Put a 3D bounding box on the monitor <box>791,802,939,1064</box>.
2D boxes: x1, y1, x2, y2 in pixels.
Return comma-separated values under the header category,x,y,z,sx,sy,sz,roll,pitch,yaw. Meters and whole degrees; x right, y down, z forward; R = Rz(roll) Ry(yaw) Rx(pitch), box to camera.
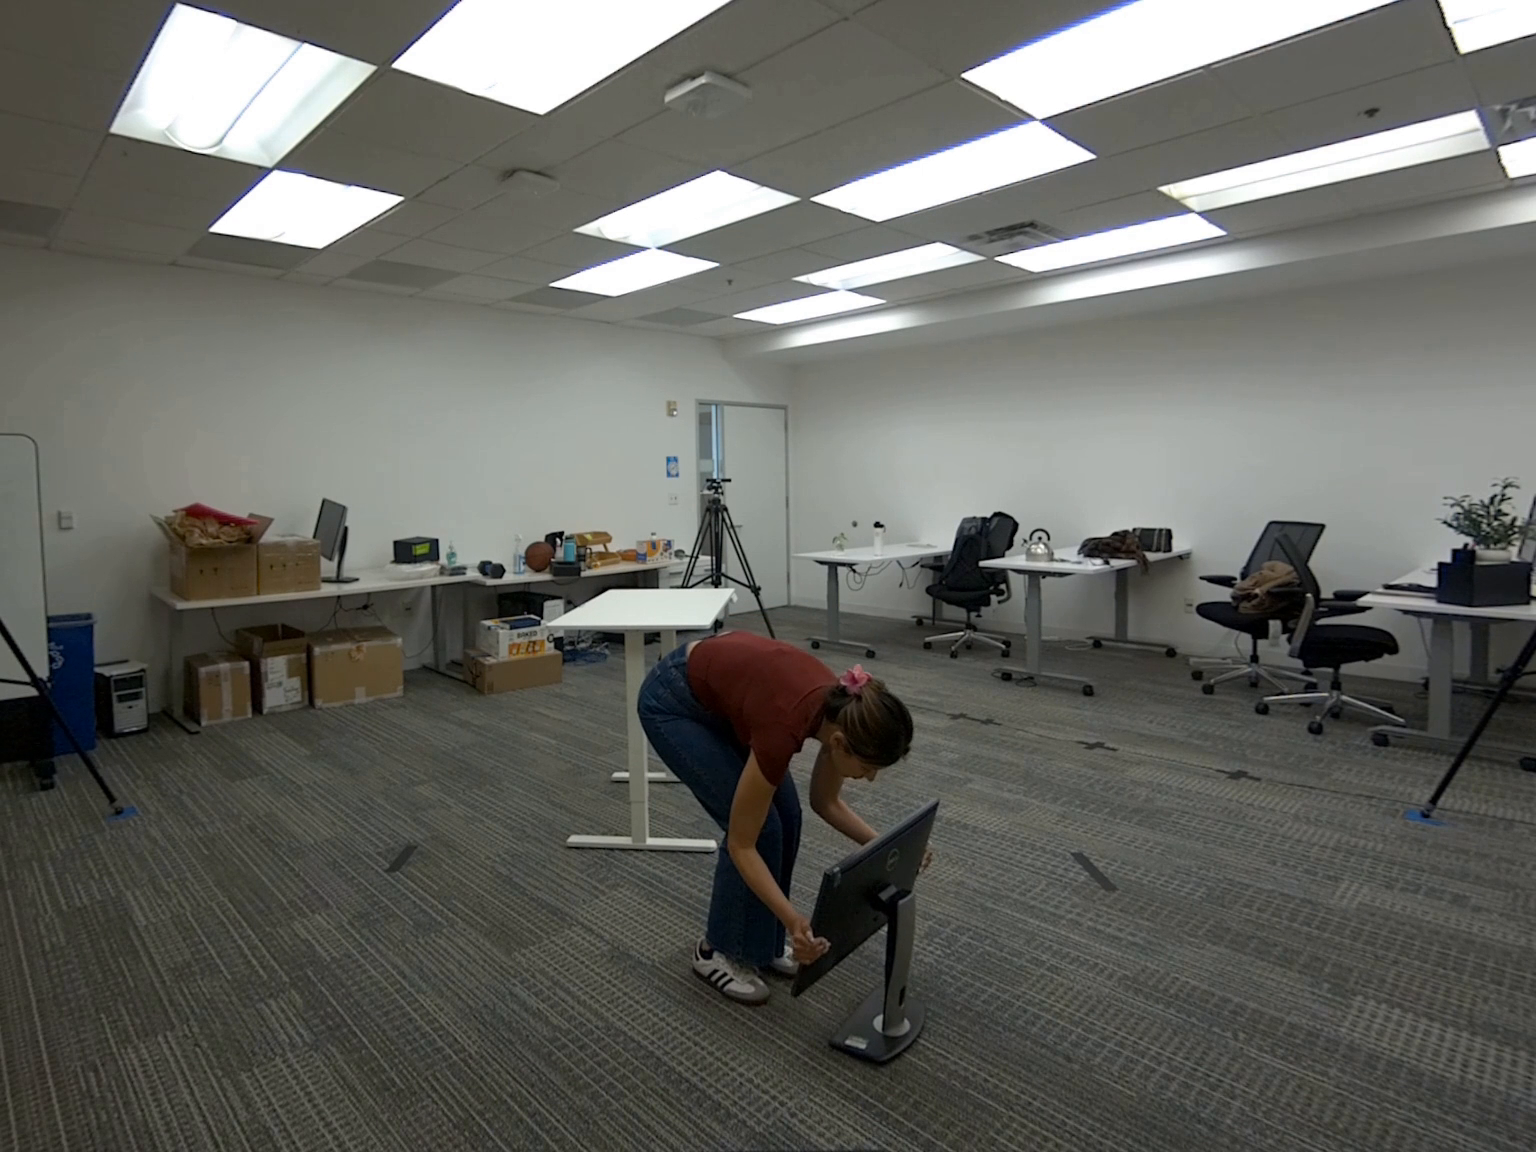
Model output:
category,x,y,z,sx,sy,sz,roll,pitch,yaw
monitor,0.288,0.887,2.148,0.193,0.520,0.526,3,7,36
